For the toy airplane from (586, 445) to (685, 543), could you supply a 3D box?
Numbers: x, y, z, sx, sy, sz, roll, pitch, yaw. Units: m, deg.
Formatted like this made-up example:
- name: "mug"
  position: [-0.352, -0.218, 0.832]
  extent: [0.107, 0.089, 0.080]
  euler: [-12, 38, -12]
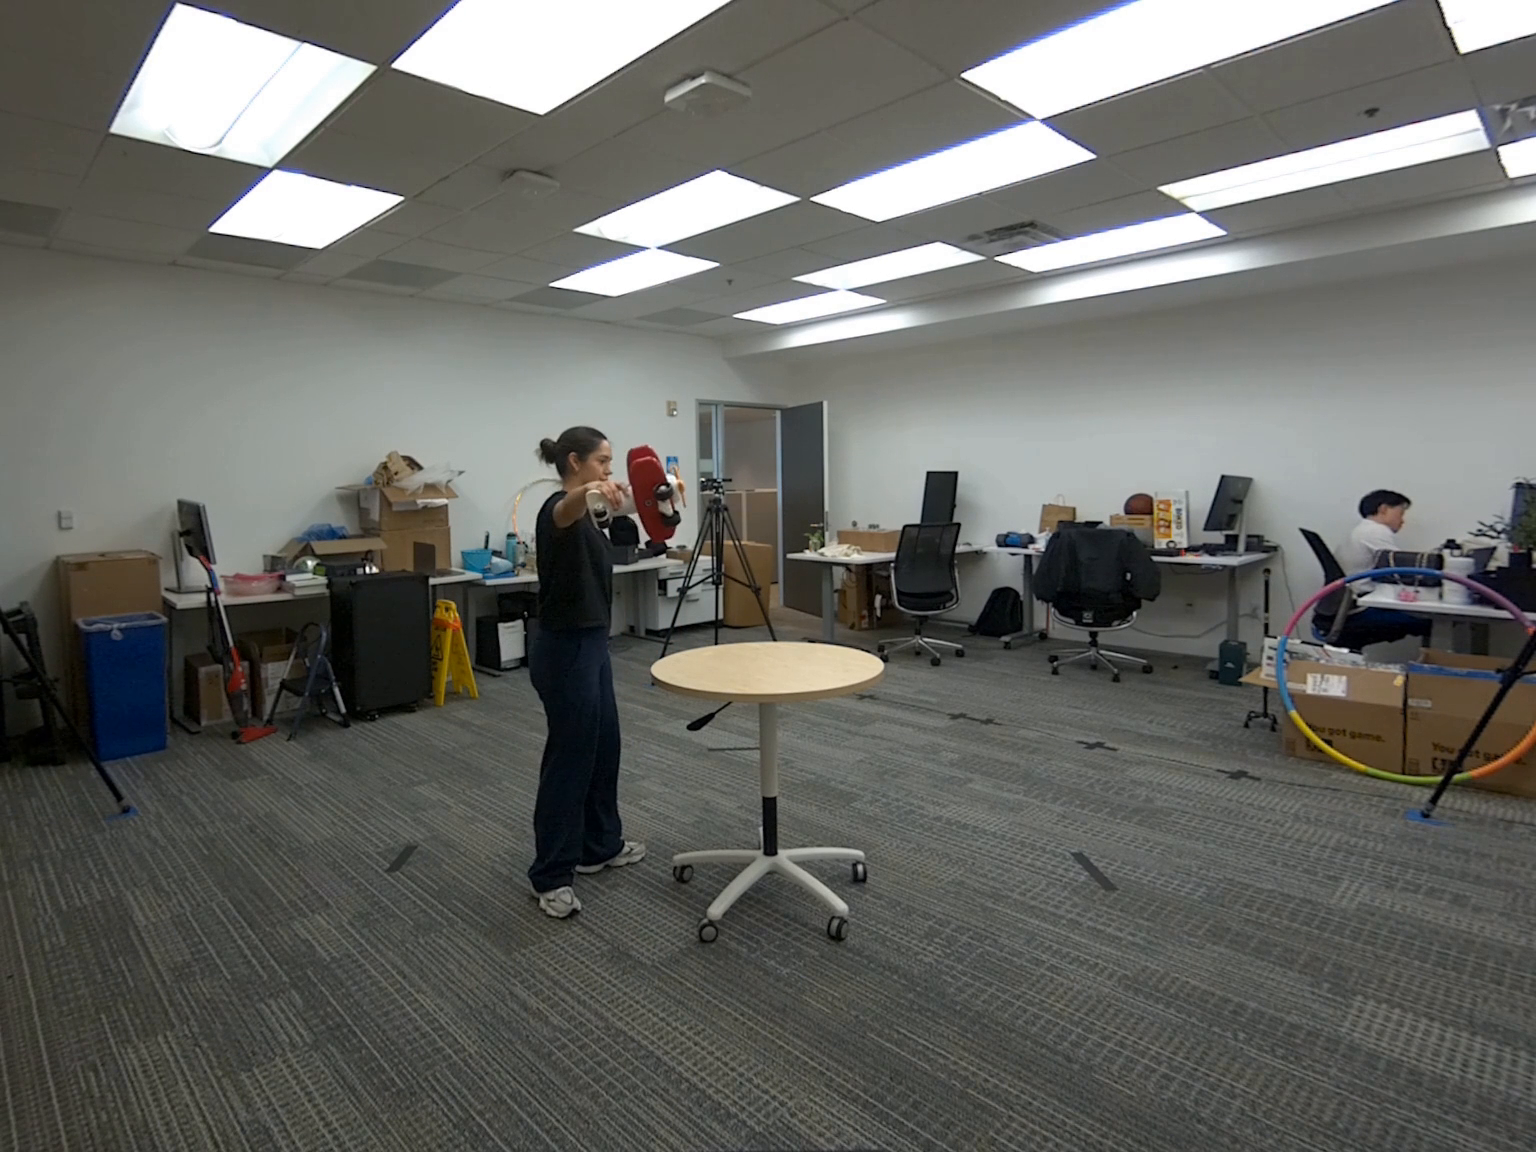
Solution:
- name: "toy airplane"
  position: [-0.349, -0.219, 2.285]
  extent: [0.256, 0.248, 0.160]
  euler: [15, 31, -10]
